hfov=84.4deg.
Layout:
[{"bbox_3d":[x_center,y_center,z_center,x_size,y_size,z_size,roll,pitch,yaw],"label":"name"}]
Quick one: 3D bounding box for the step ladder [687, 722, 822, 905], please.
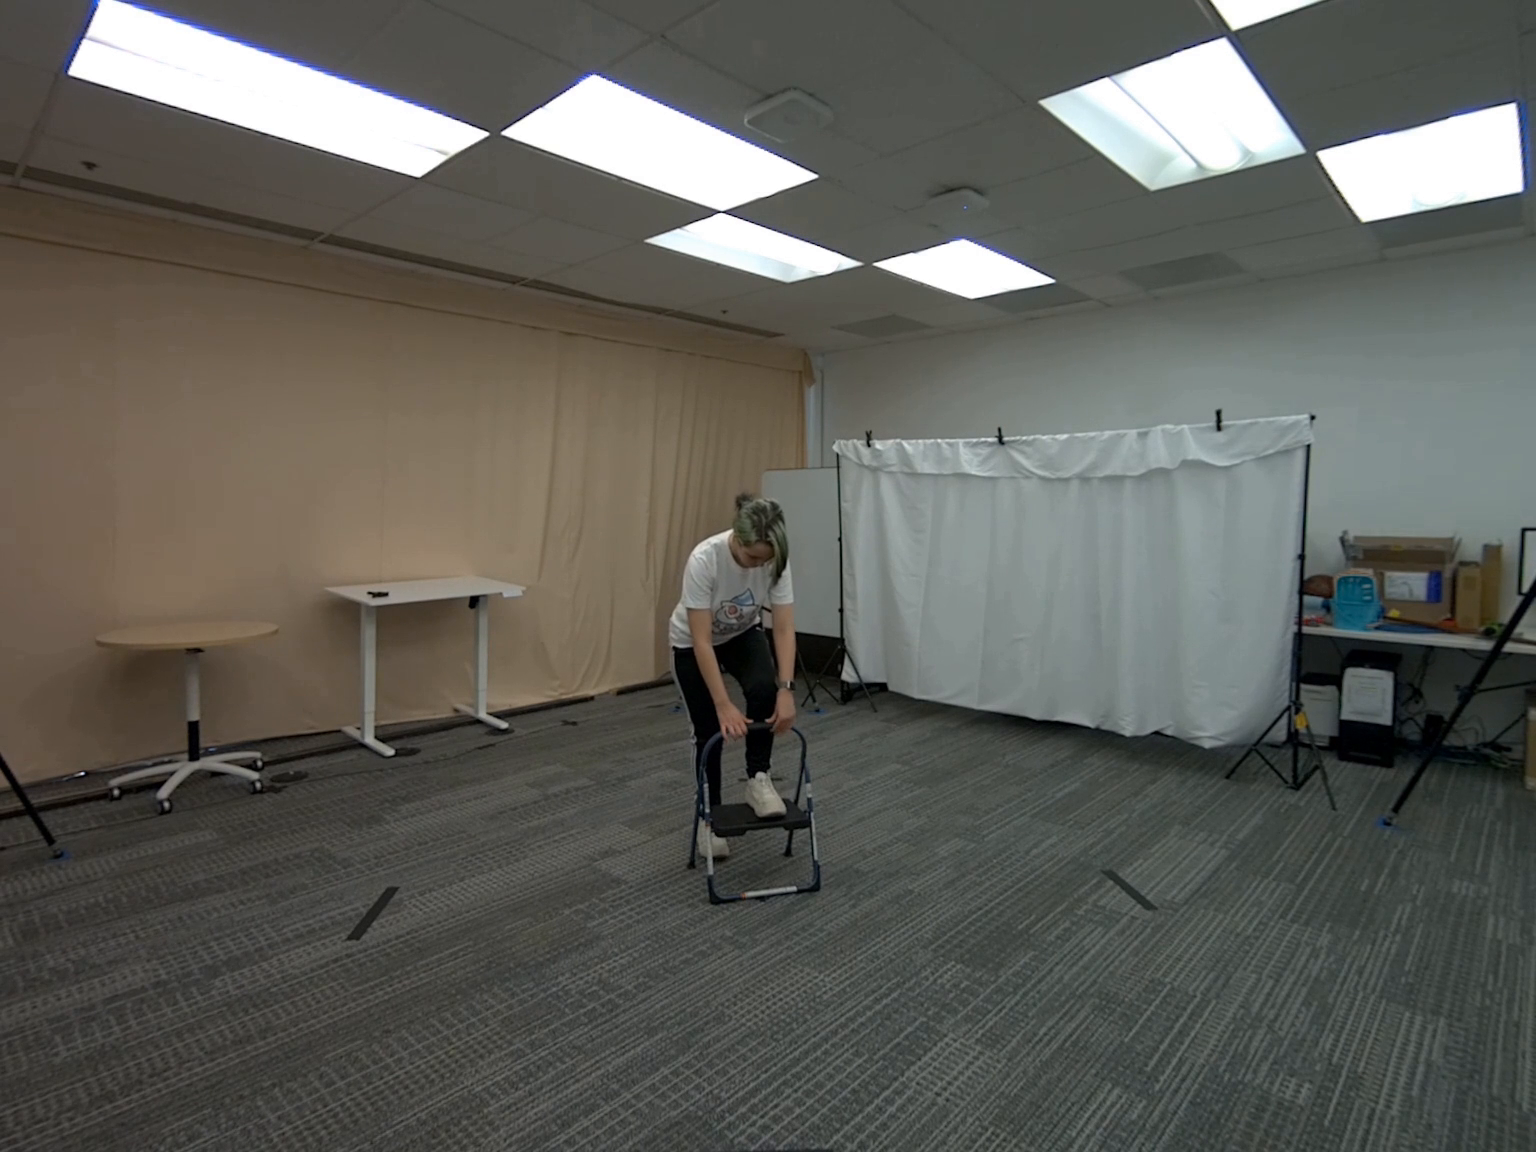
[{"bbox_3d":[-0.054,0.834,3.134,0.423,0.605,0.356,-1,4,-18],"label":"step ladder"}]
